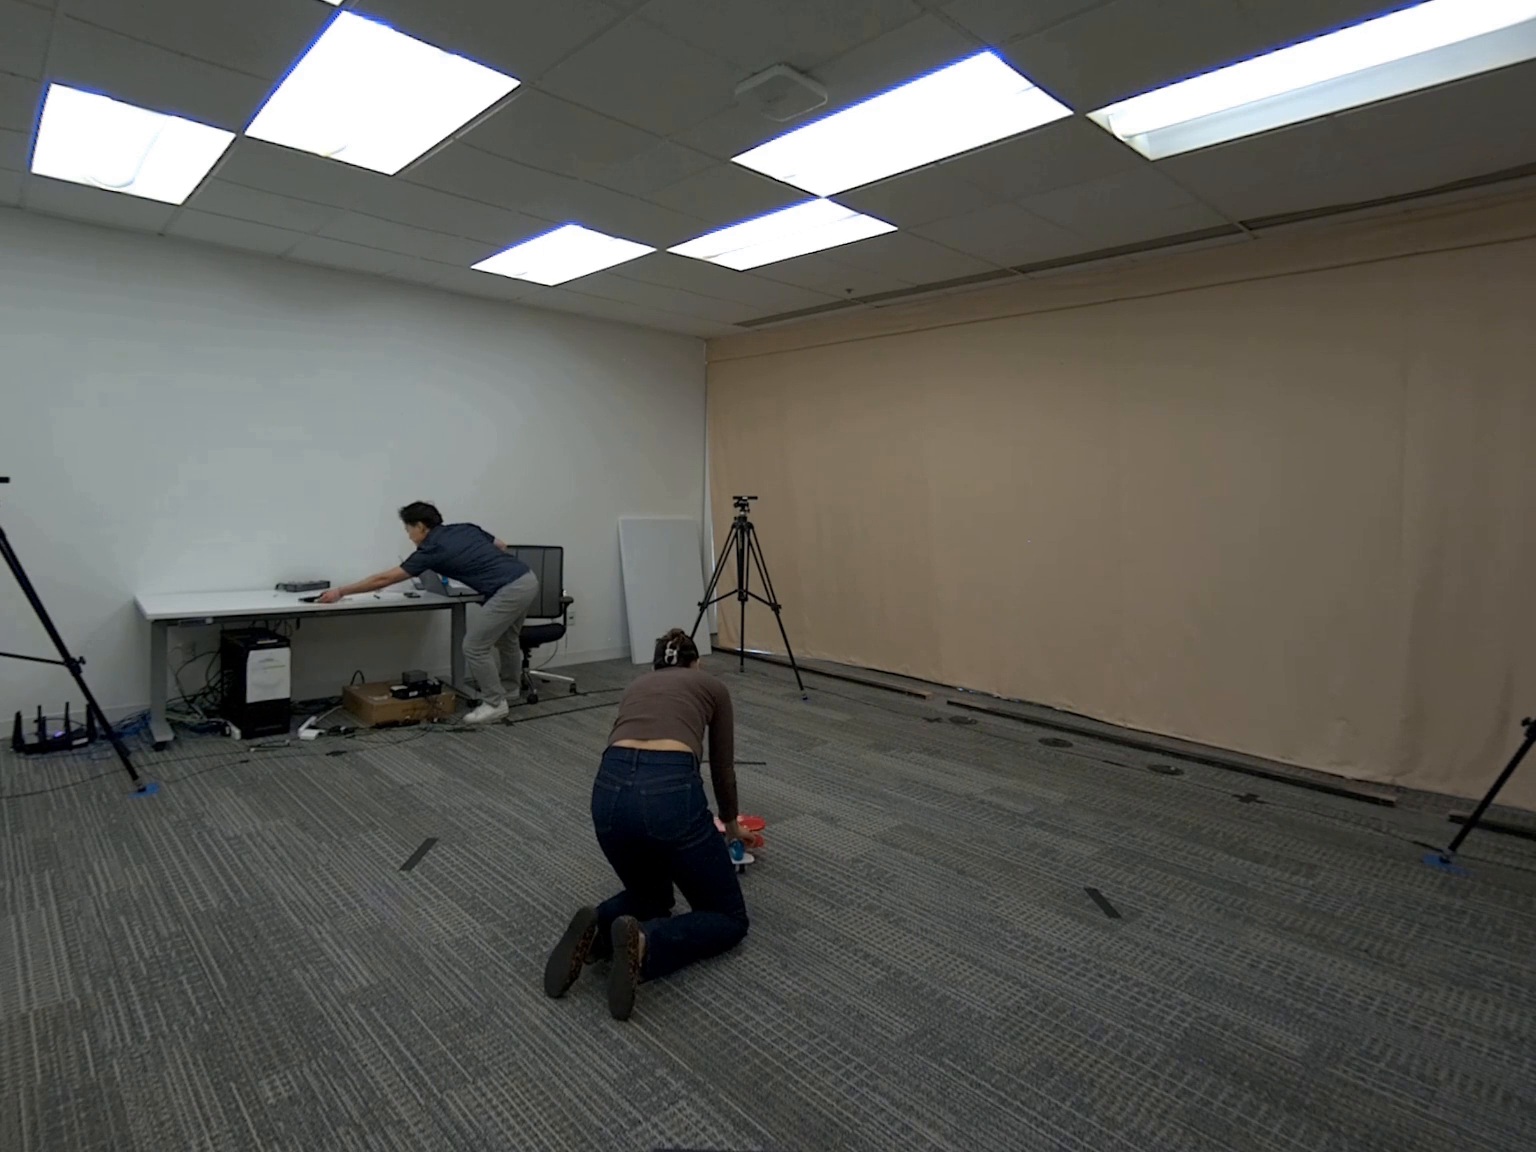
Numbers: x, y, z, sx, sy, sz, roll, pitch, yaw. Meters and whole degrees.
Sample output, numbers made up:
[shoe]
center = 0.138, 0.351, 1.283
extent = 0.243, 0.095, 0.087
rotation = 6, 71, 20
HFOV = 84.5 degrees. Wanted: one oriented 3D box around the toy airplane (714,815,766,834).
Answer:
[toy airplane]
center = -0.120, 1.025, 3.211
extent = 0.245, 0.156, 0.265
rotation = -3, 5, -39
